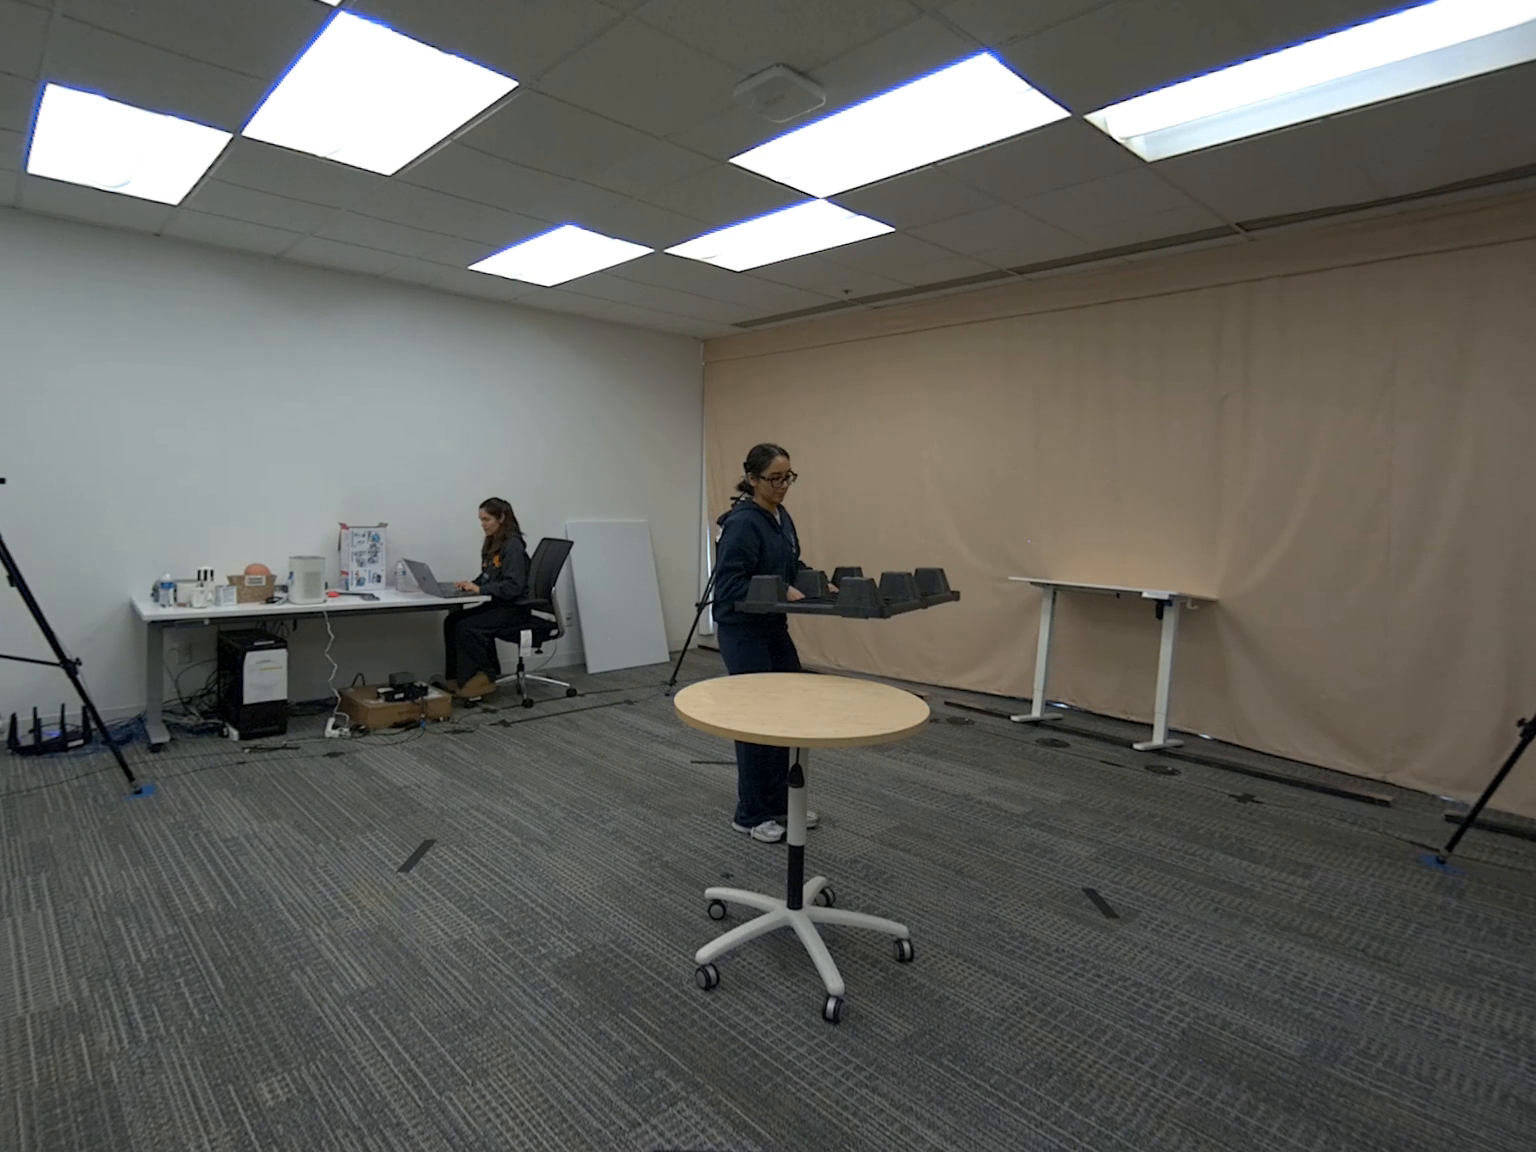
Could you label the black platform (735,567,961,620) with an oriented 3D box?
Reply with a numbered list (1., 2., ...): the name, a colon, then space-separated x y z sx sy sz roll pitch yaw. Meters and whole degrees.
1. black platform: 0.326 0.054 3.291 0.618 0.143 0.789 0 4 32
